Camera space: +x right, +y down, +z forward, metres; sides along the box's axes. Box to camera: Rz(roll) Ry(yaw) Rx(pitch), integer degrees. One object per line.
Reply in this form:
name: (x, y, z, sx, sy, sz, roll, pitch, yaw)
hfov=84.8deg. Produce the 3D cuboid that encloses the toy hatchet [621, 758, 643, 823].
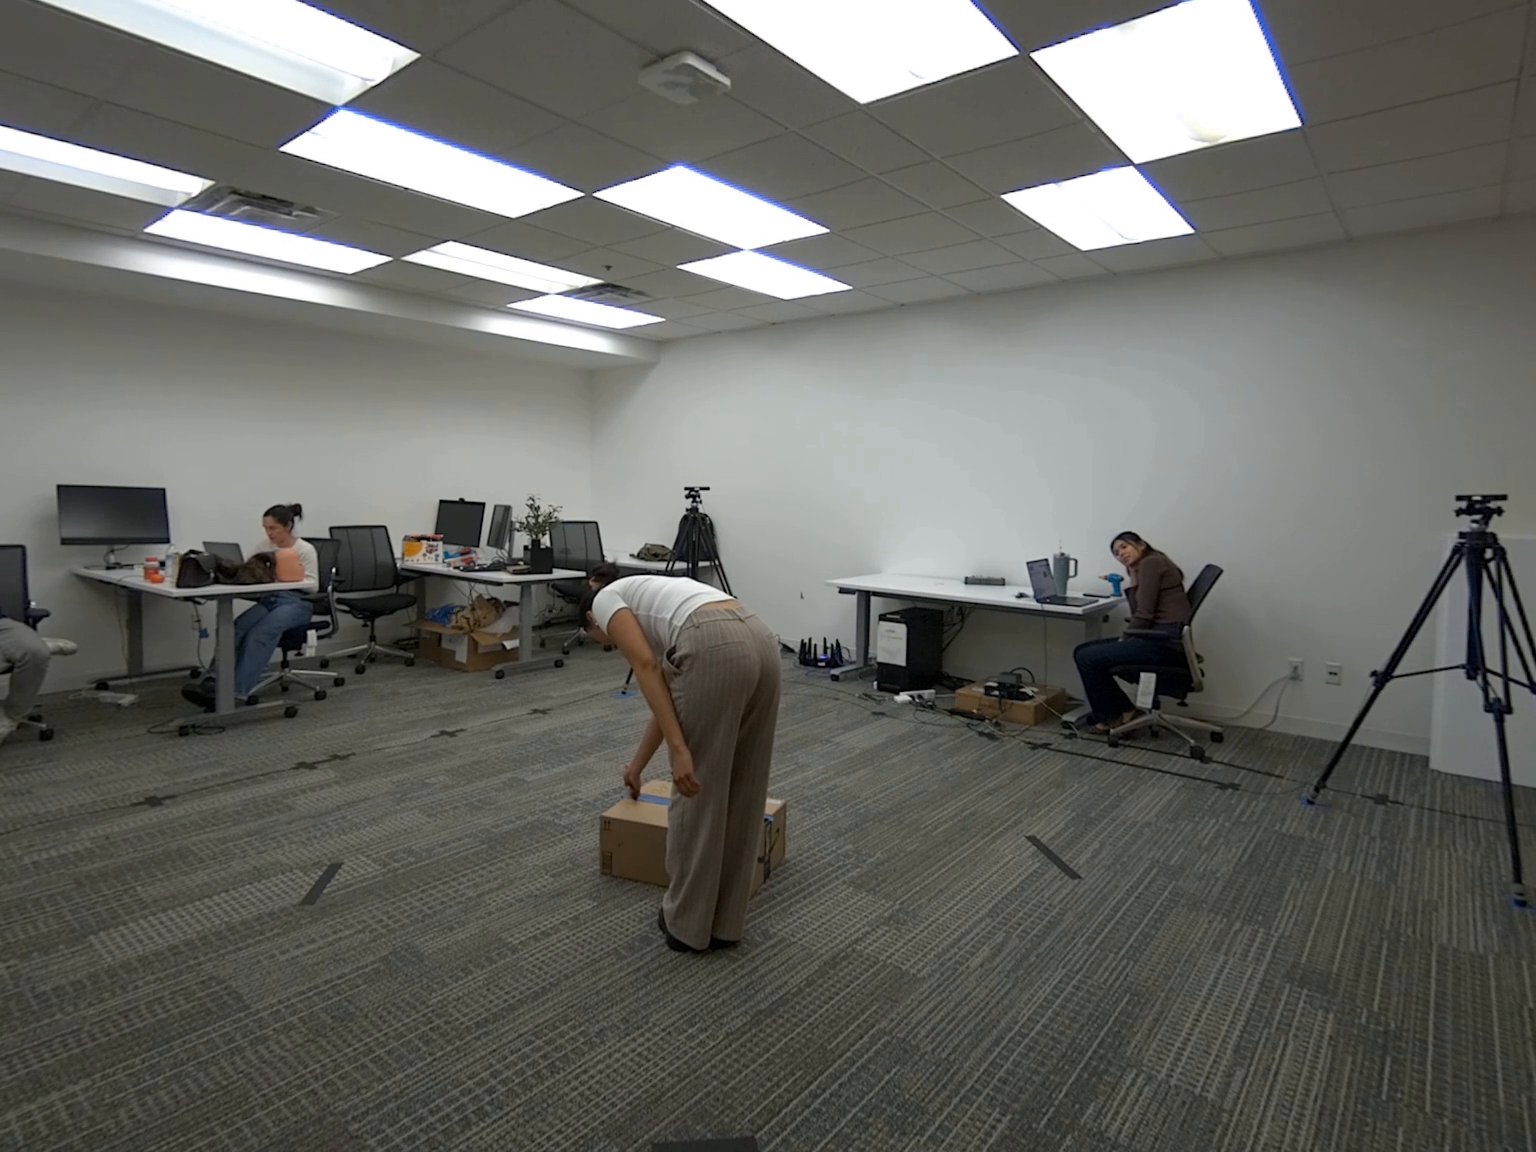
toy hatchet: (-0.500, 0.780, 3.087, 0.029, 0.130, 0.273, -14, 9, -3)
